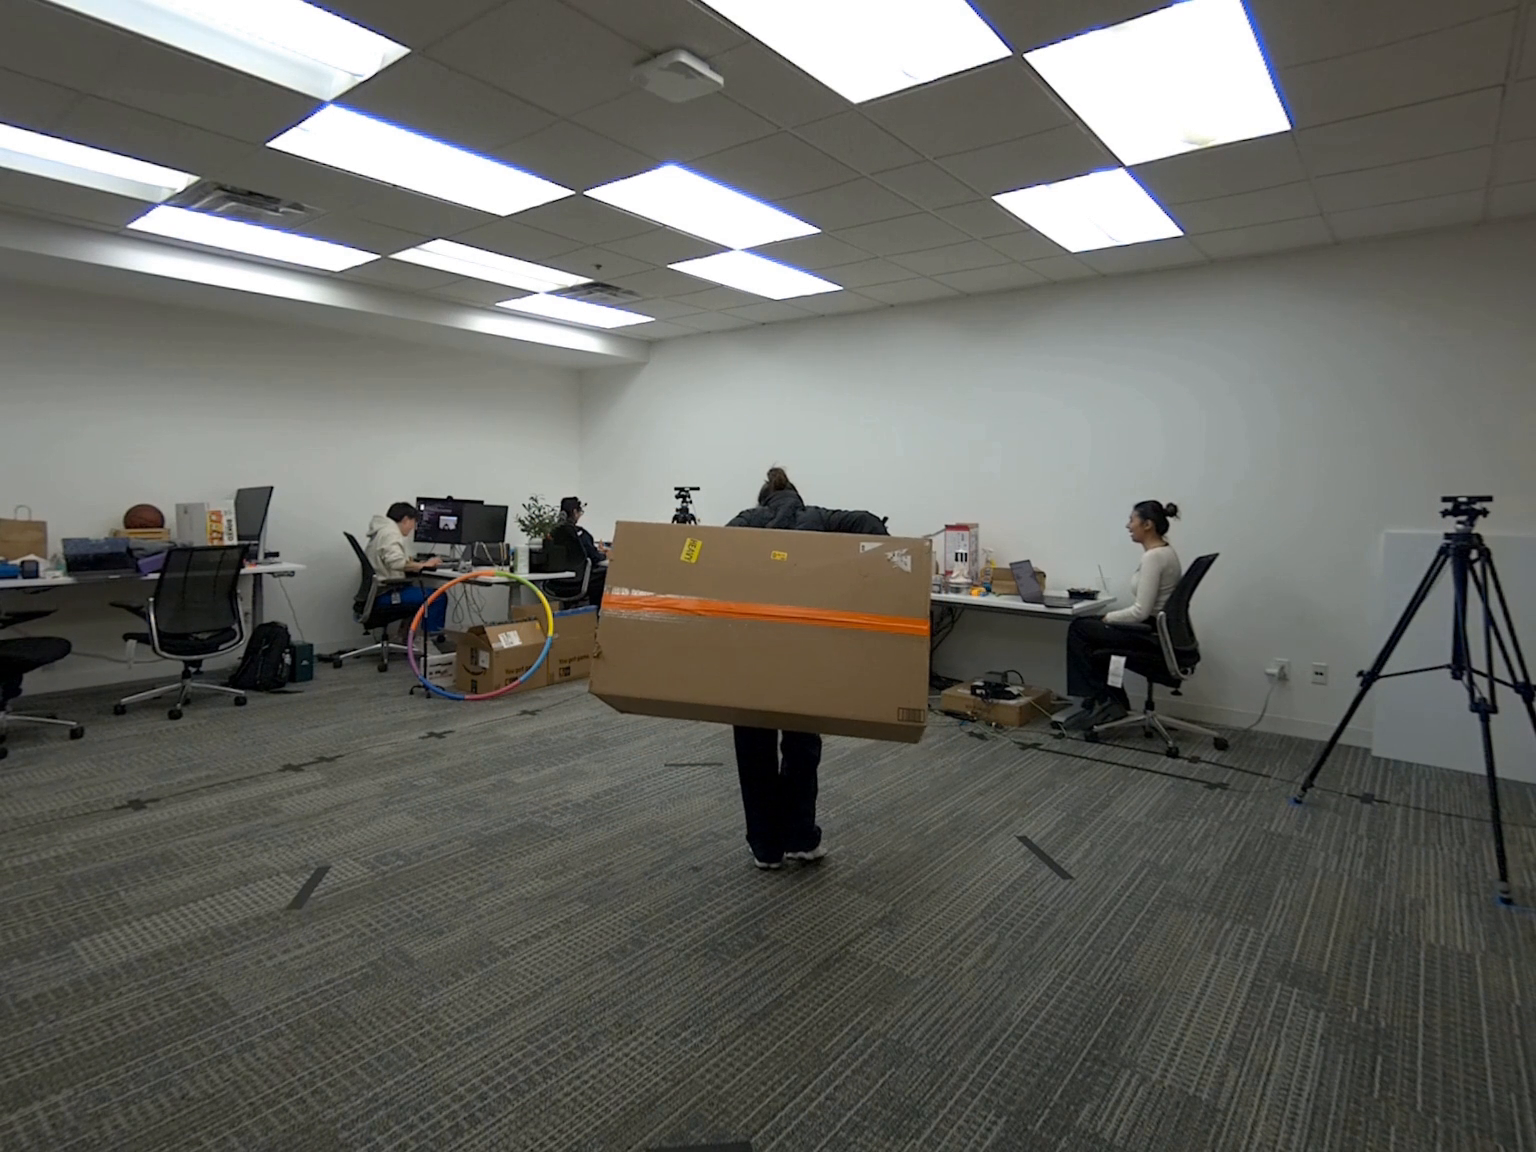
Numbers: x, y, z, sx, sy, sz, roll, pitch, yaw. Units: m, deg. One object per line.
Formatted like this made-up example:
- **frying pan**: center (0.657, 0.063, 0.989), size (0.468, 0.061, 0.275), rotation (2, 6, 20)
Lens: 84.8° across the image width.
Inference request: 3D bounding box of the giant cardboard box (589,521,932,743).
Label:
- **giant cardboard box**: center (0.006, 0.184, 2.811), size (1.040, 0.587, 0.414), rotation (3, -20, 11)
